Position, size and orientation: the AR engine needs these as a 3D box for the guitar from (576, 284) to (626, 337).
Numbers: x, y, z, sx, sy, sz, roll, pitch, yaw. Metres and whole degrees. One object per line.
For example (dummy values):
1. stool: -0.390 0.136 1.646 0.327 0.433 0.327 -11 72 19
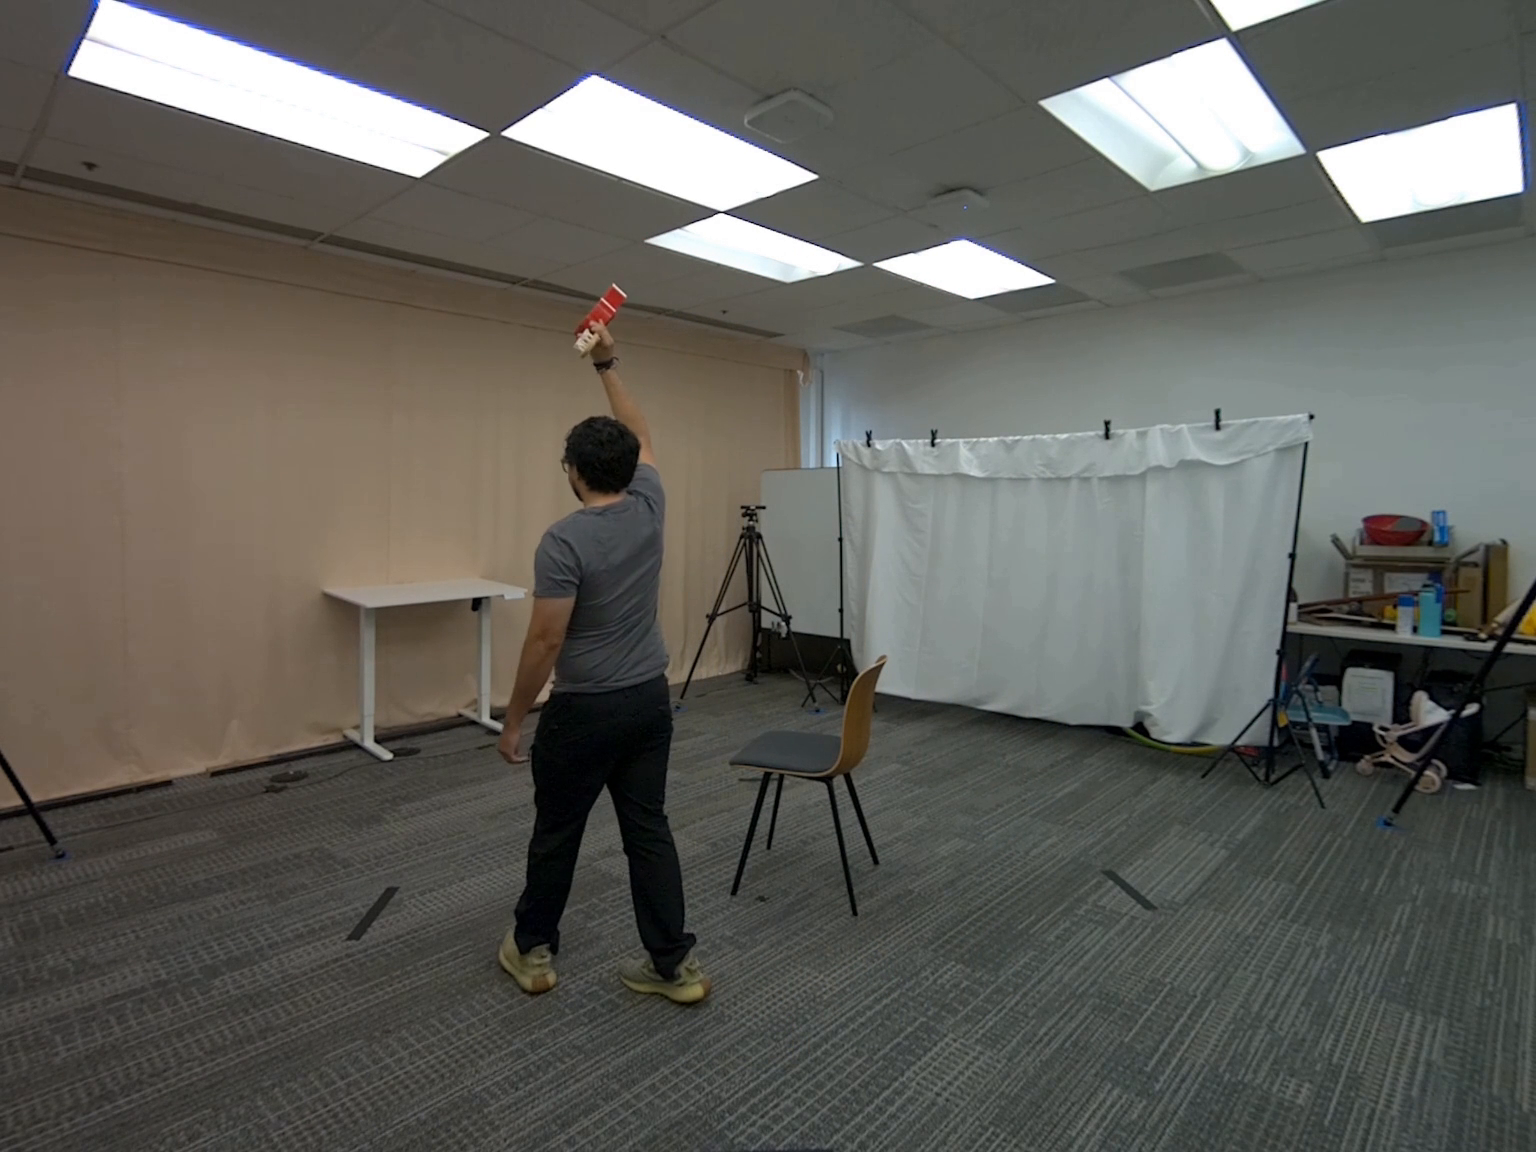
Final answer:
1. guitar: -0.519 -0.799 2.602 0.069 0.193 0.507 38 12 -20
